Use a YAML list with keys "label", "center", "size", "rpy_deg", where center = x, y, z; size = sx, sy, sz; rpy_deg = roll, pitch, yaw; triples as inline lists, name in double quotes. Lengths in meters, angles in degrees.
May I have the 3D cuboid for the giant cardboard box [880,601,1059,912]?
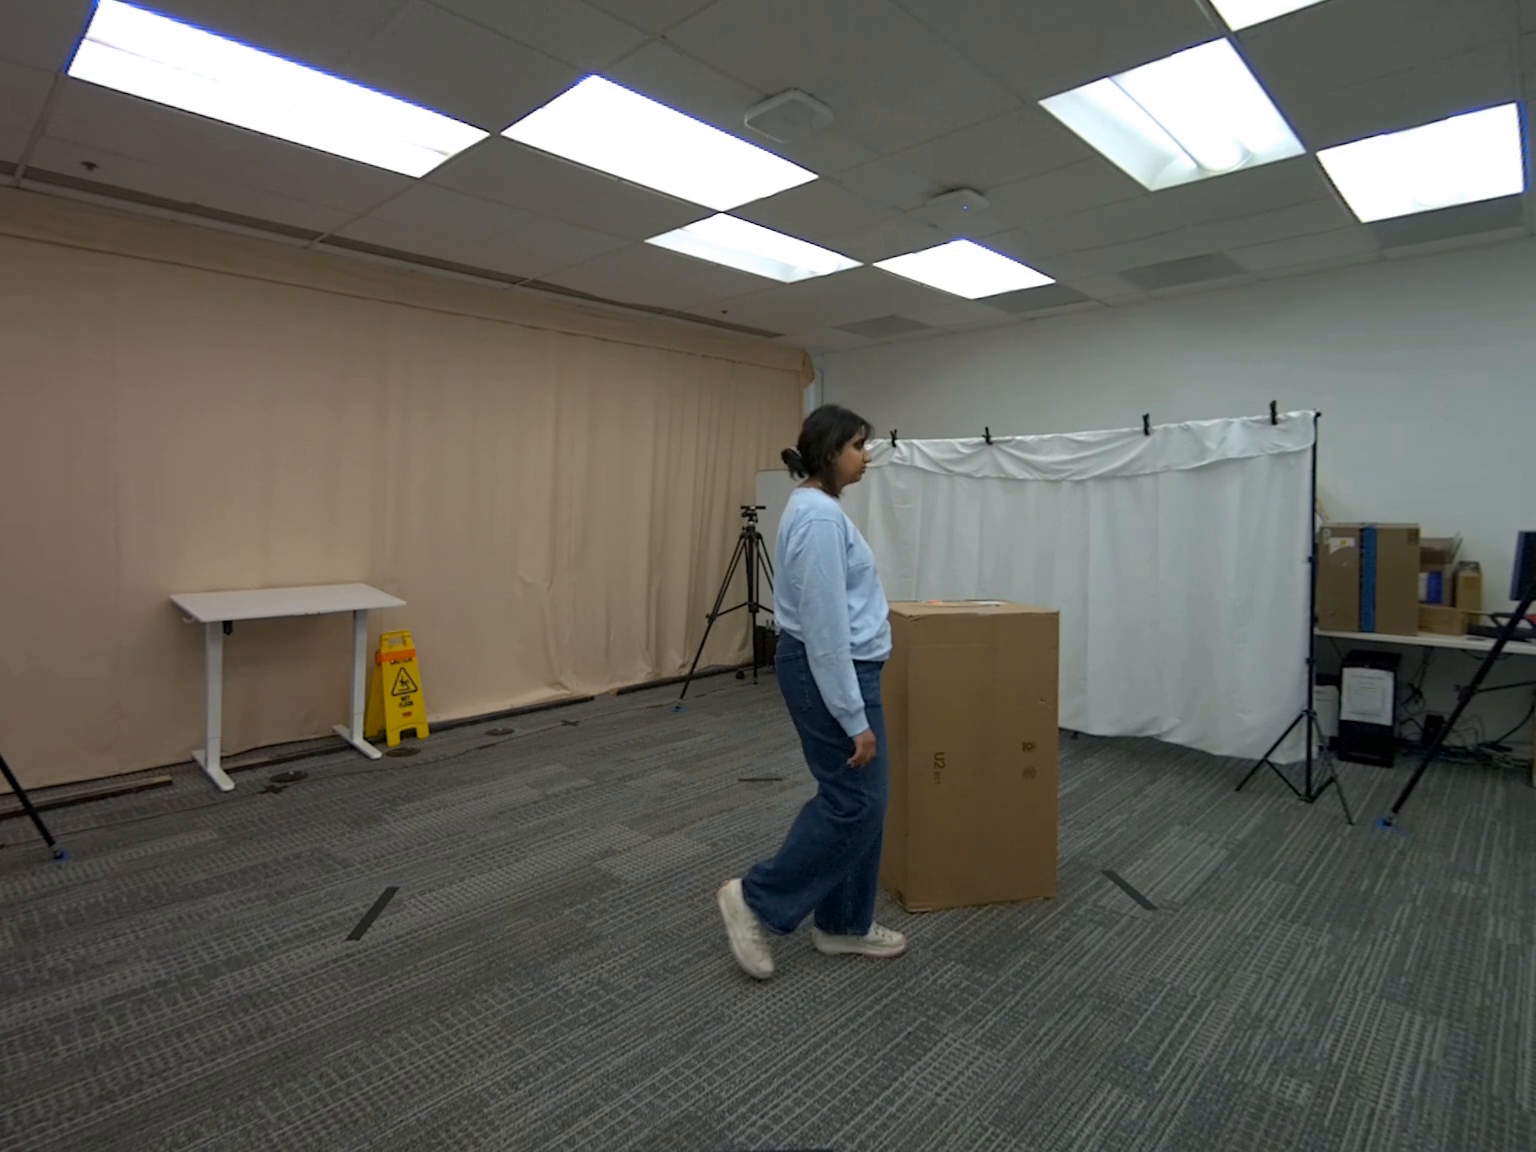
- label: "giant cardboard box"
  center: [0.704, 0.623, 3.116]
  size: [0.569, 1.024, 0.433]
  rpy_deg: [0, 2, -14]
